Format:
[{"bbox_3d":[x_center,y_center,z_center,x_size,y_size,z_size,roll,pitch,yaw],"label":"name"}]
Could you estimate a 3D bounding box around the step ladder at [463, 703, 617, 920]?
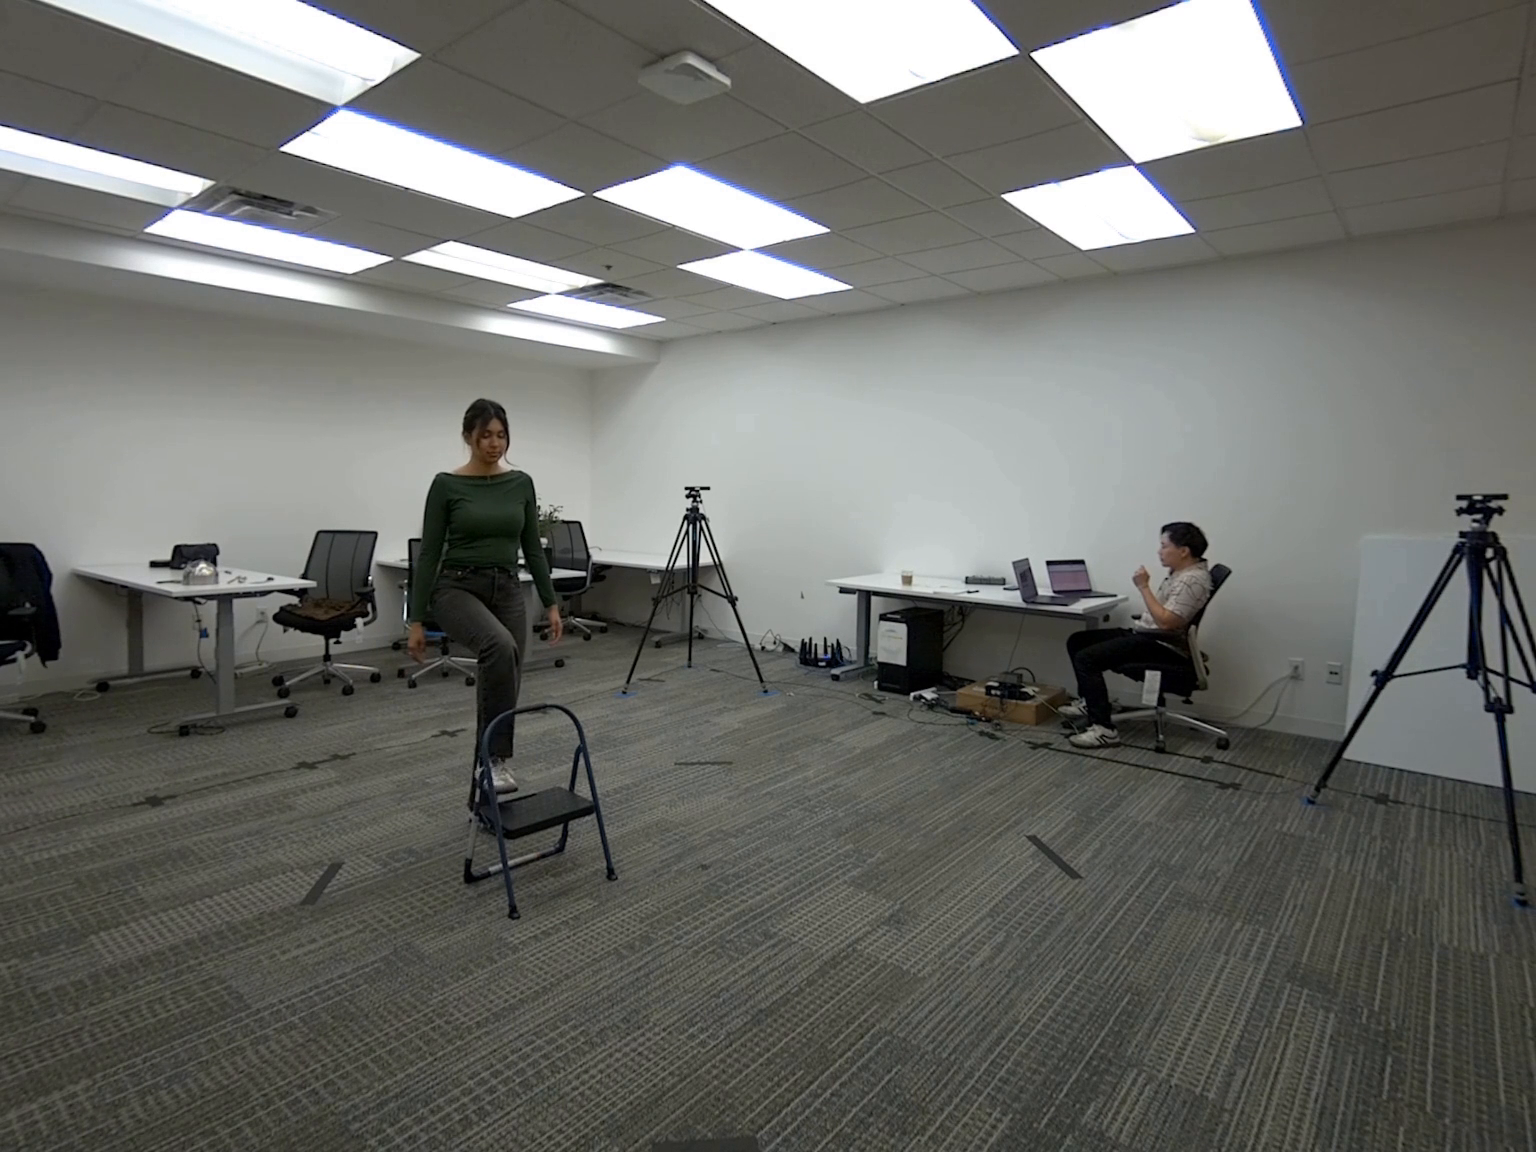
[{"bbox_3d":[-0.808,0.767,2.974,0.361,0.604,0.417,3,4,43],"label":"step ladder"}]
